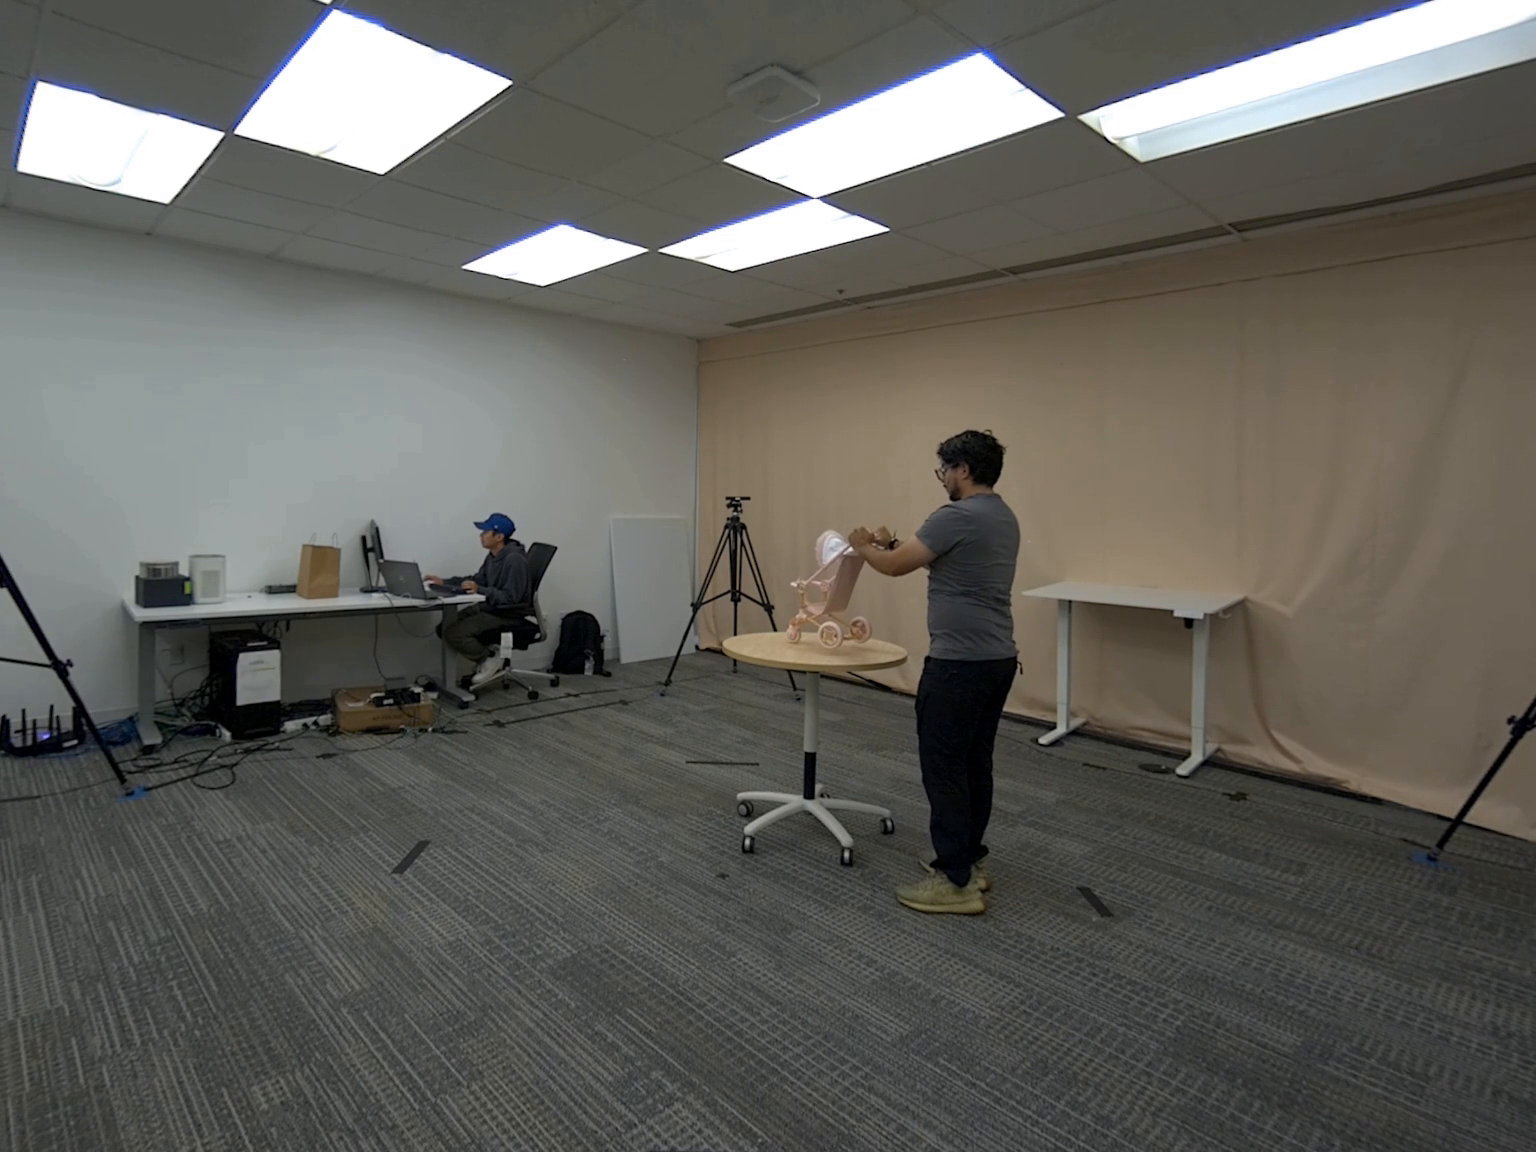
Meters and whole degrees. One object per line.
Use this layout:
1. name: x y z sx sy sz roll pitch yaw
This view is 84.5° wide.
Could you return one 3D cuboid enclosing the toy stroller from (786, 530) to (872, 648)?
1. toy stroller: 0.254 0.057 3.477 0.351 0.532 0.275 16 11 39
